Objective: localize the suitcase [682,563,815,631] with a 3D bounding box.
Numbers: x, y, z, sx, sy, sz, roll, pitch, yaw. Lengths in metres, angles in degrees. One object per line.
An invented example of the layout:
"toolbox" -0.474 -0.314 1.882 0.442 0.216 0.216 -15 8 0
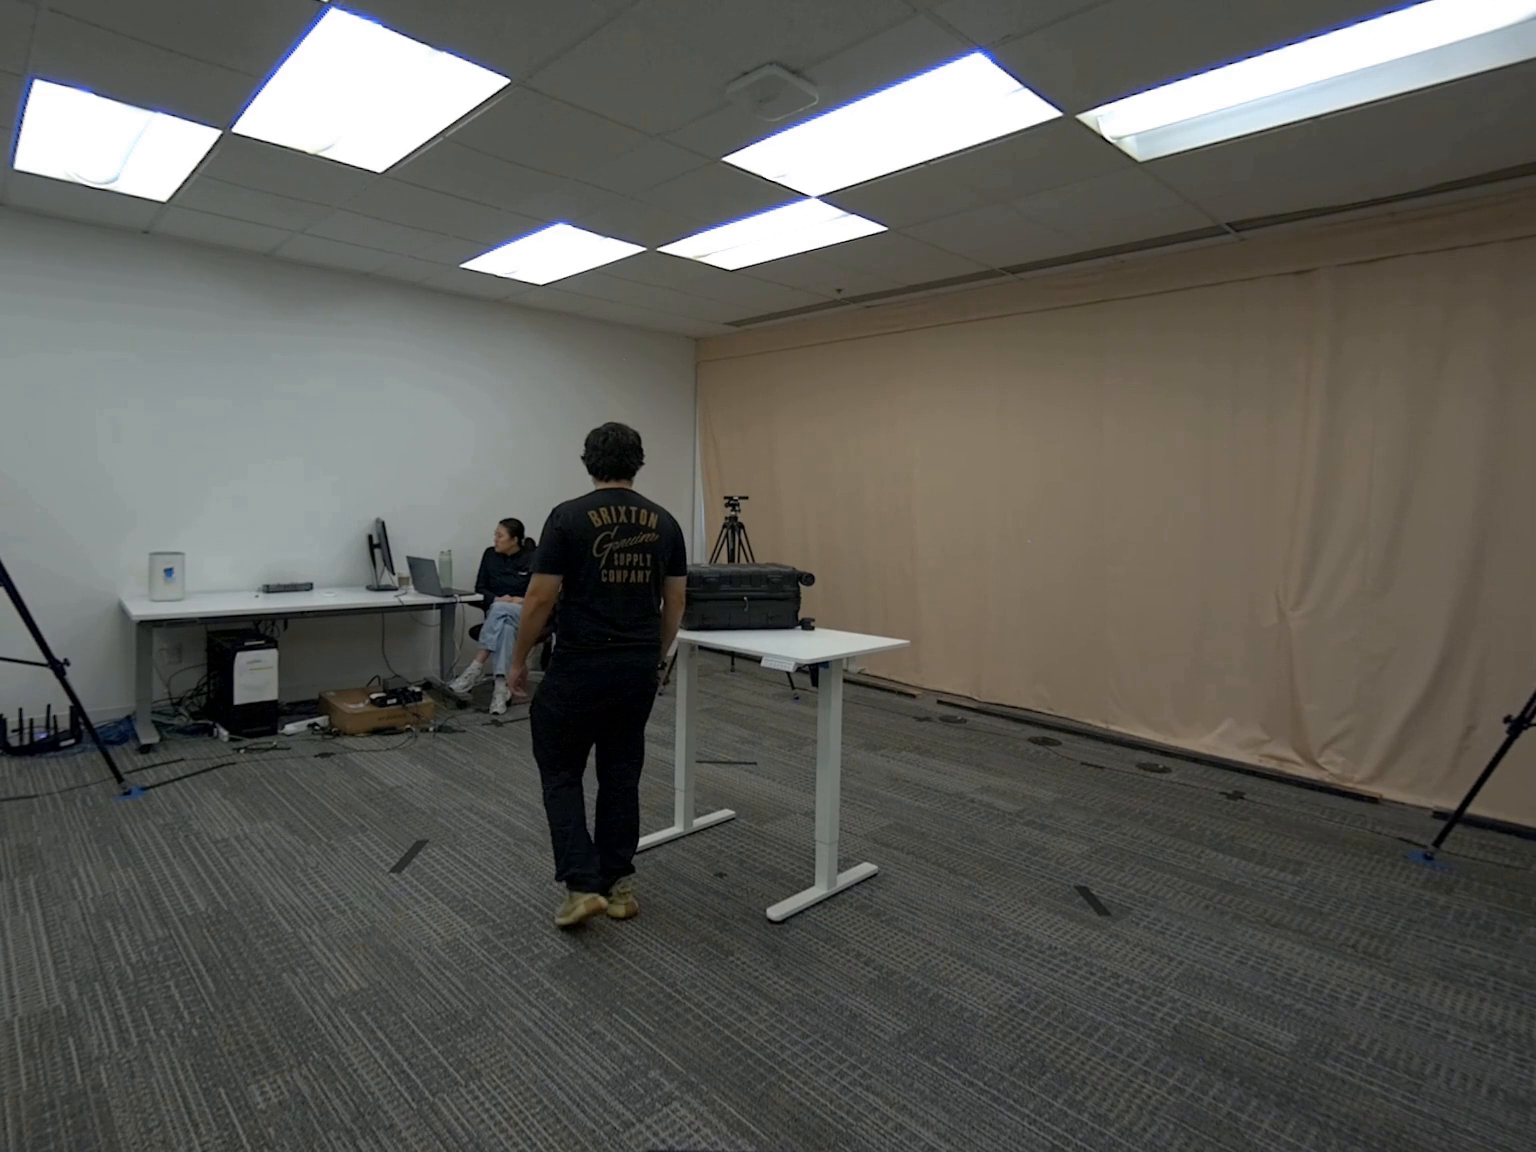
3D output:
"suitcase" -0.134 0.082 3.382 0.543 0.248 0.381 0 4 -16
